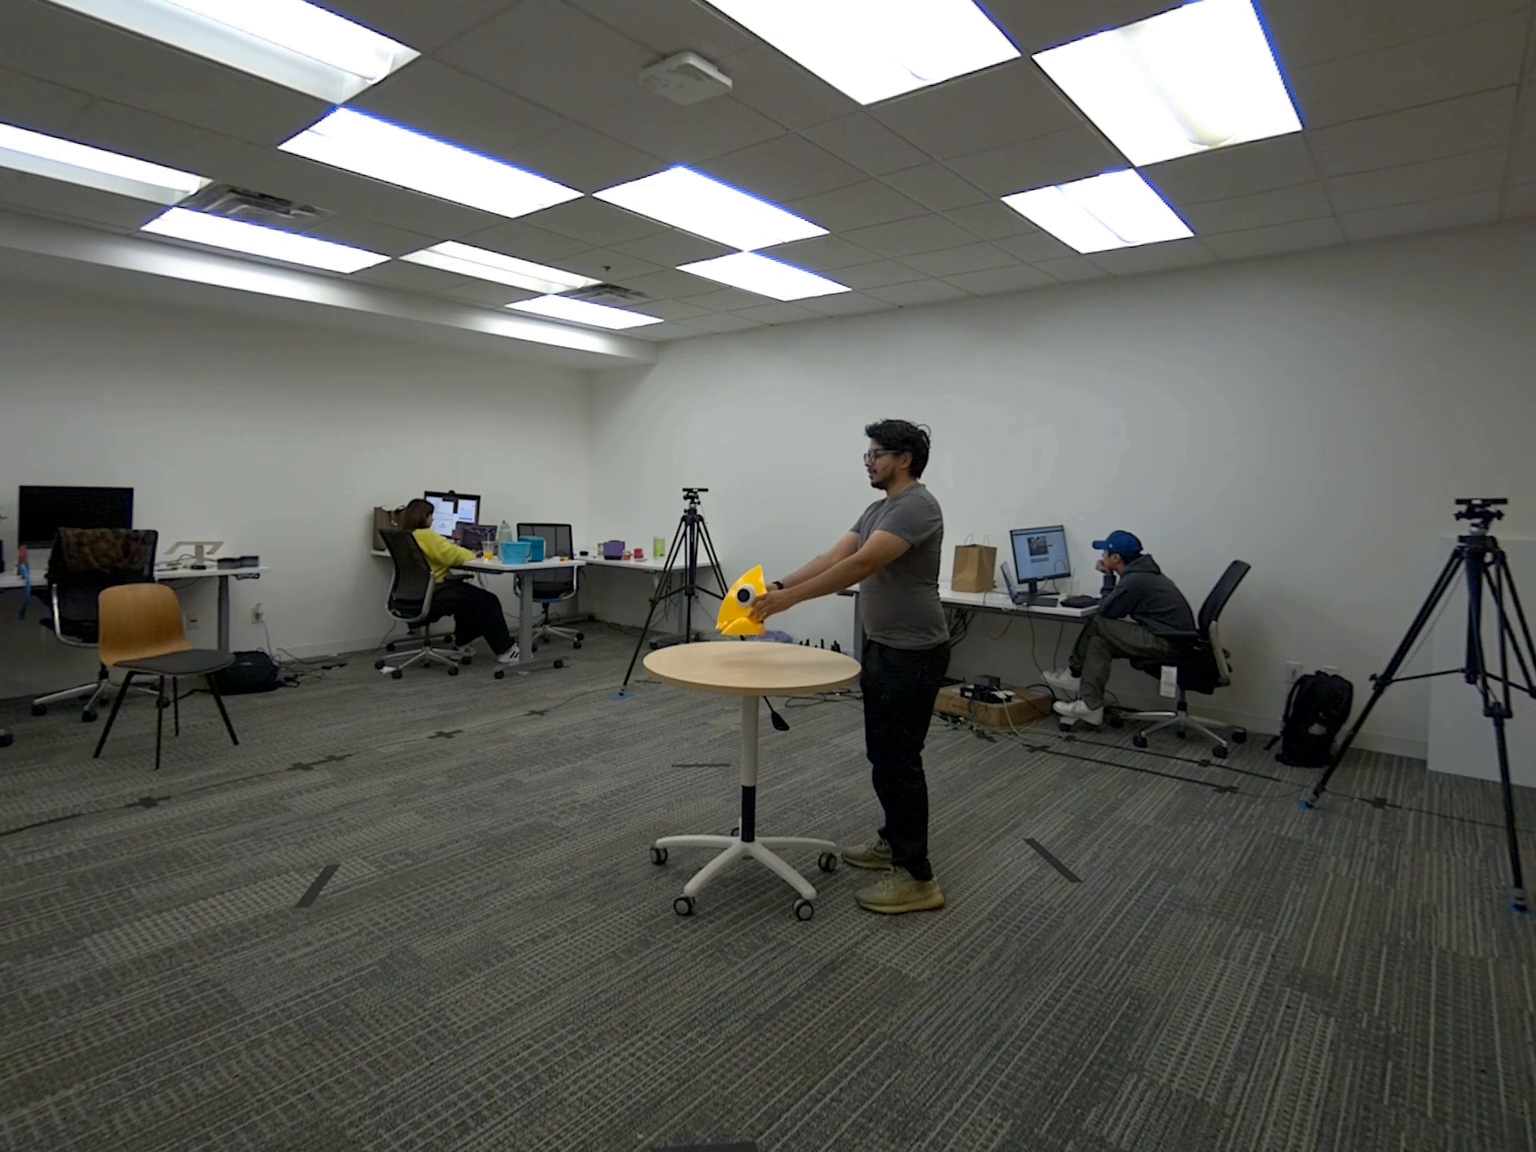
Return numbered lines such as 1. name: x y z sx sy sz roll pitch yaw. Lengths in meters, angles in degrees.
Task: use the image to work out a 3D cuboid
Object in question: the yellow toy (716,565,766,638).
1. yellow toy: -0.095 0.075 2.987 0.191 0.230 0.208 -1 4 -10
